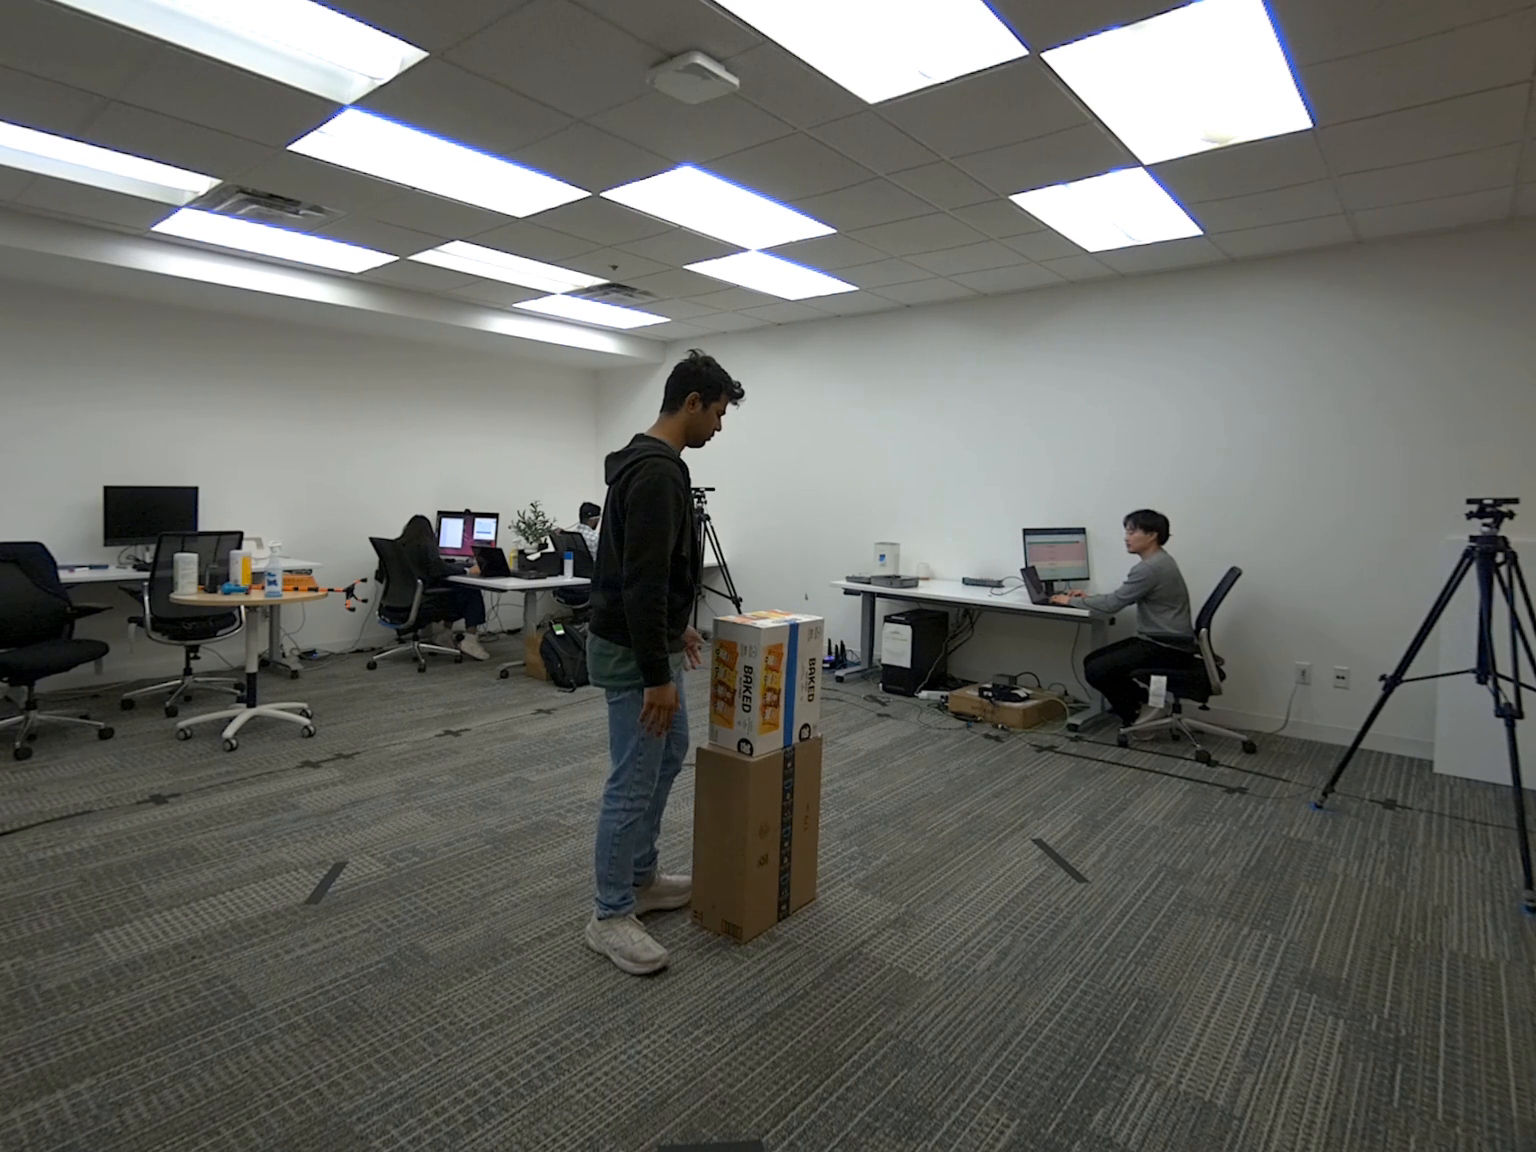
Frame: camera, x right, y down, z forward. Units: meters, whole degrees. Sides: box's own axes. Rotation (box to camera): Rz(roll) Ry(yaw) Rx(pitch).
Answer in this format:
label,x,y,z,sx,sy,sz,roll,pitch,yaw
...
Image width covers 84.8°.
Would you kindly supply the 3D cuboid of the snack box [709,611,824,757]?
label,x,y,z,sx,sy,sz,roll,pitch,yaw
snack box,-0.014,0.337,2.780,0.213,0.403,0.330,6,6,39
